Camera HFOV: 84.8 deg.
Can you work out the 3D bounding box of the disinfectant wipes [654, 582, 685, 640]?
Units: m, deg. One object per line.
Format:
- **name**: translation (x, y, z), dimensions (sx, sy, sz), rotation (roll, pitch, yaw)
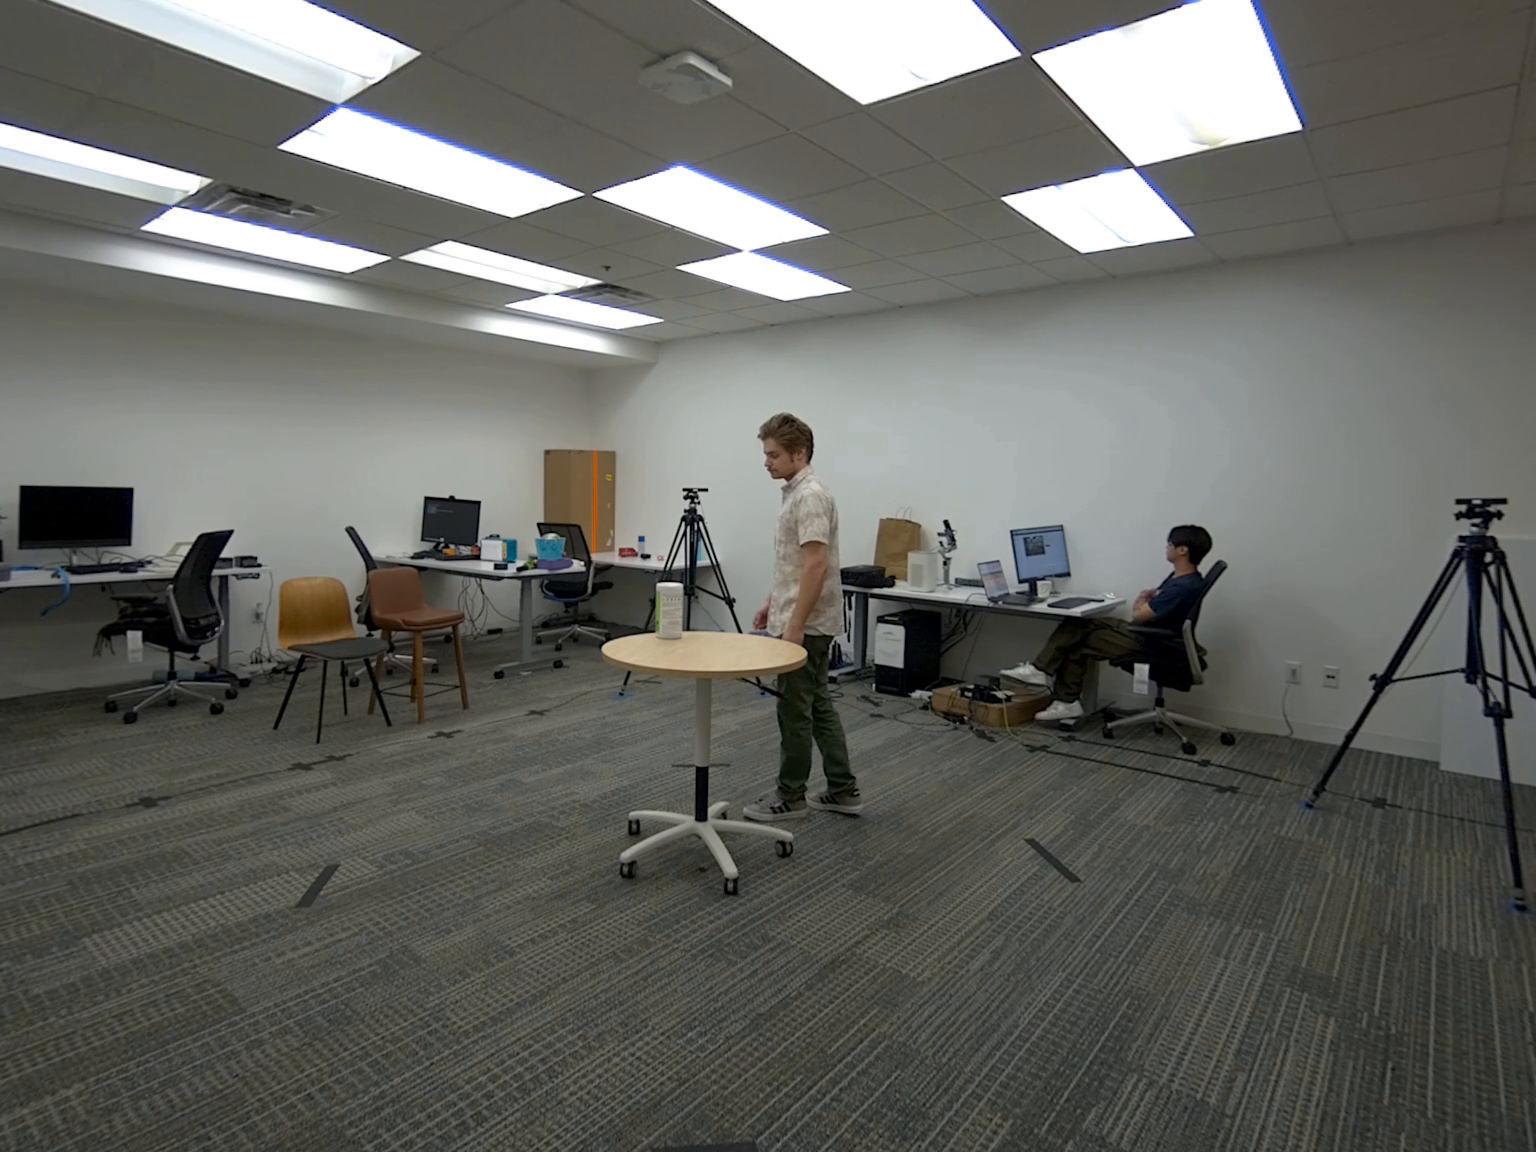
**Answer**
- **disinfectant wipes**: translation (-0.403, 0.135, 3.406), dimensions (0.118, 0.216, 0.118), rotation (-1, 4, -2)
